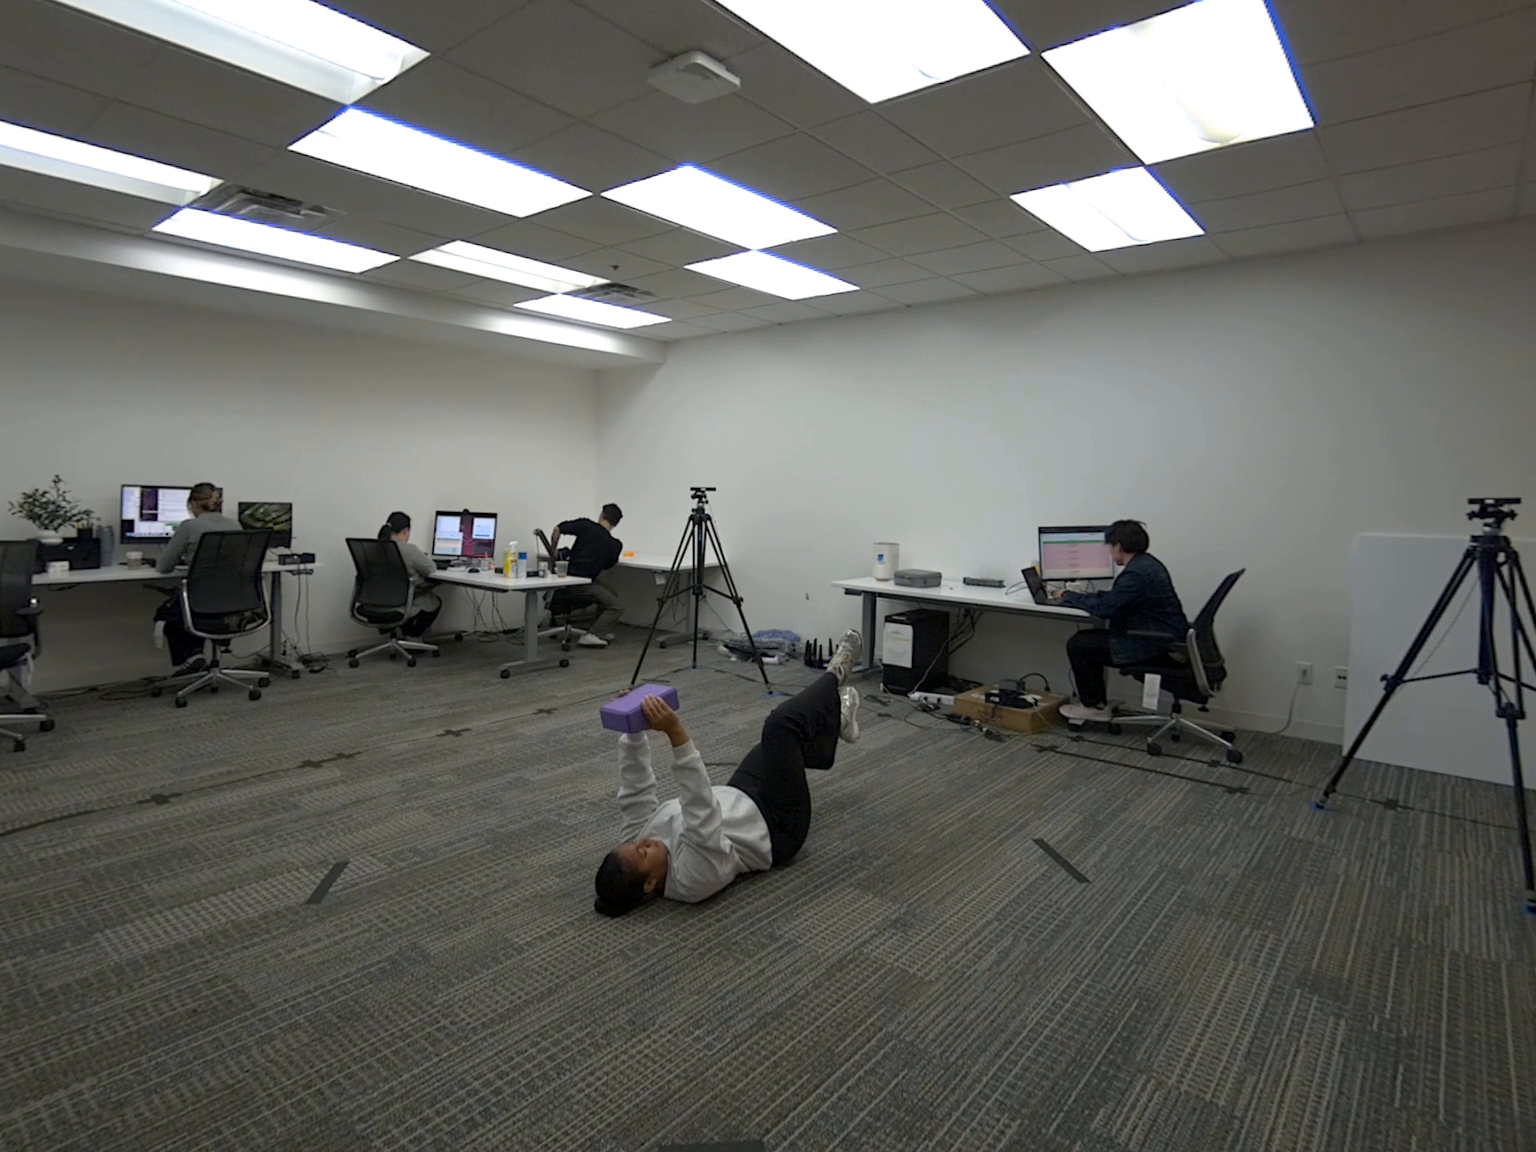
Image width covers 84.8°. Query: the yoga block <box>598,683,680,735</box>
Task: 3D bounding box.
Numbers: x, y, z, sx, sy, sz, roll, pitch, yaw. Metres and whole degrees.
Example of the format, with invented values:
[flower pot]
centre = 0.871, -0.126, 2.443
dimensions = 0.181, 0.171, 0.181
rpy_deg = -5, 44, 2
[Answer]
[yoga block]
centre = -0.440, 0.438, 2.811
dimensions = 0.154, 0.075, 0.225
rpy_deg = 0, 16, 42
